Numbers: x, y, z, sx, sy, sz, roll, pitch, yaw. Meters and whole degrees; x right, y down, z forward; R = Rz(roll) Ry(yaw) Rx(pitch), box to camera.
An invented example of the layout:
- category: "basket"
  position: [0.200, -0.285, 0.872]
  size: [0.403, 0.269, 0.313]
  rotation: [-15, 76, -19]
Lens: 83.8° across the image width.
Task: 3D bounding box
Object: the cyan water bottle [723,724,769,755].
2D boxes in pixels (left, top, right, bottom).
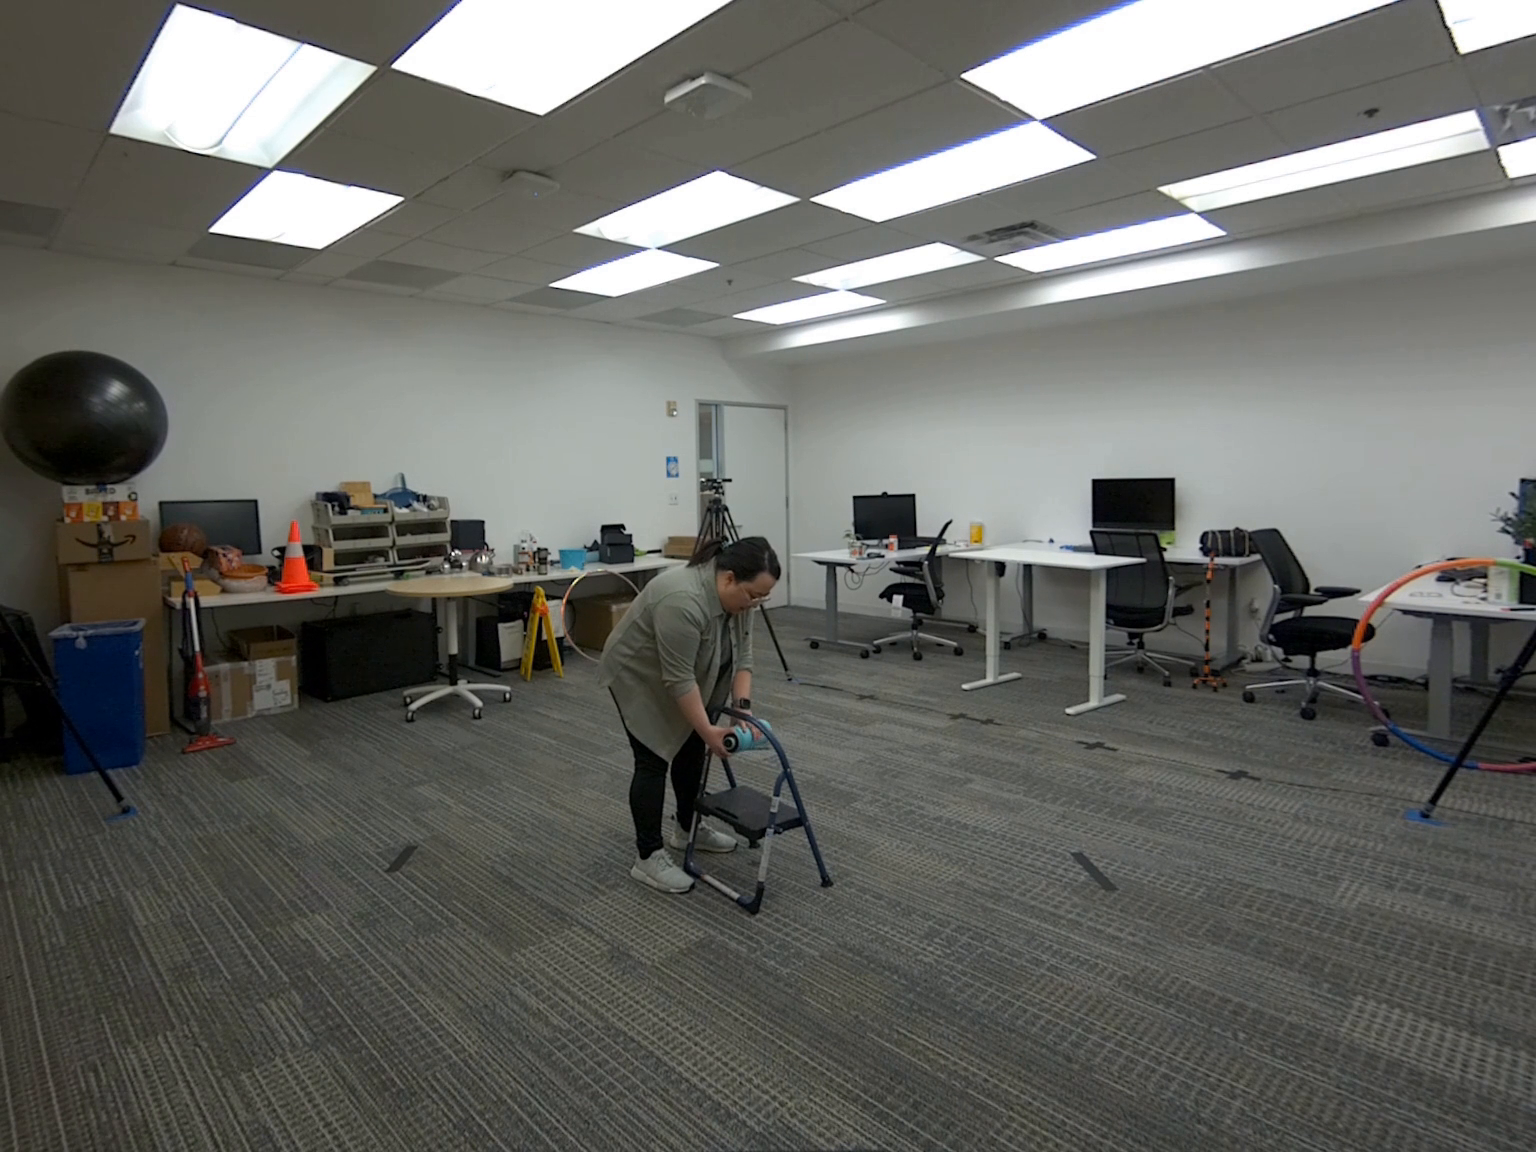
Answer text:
- category: "cyan water bottle"
  position: [-0.095, 0.579, 3.035]
  size: [0.094, 0.092, 0.276]
  rotation: [2, -1, 27]
